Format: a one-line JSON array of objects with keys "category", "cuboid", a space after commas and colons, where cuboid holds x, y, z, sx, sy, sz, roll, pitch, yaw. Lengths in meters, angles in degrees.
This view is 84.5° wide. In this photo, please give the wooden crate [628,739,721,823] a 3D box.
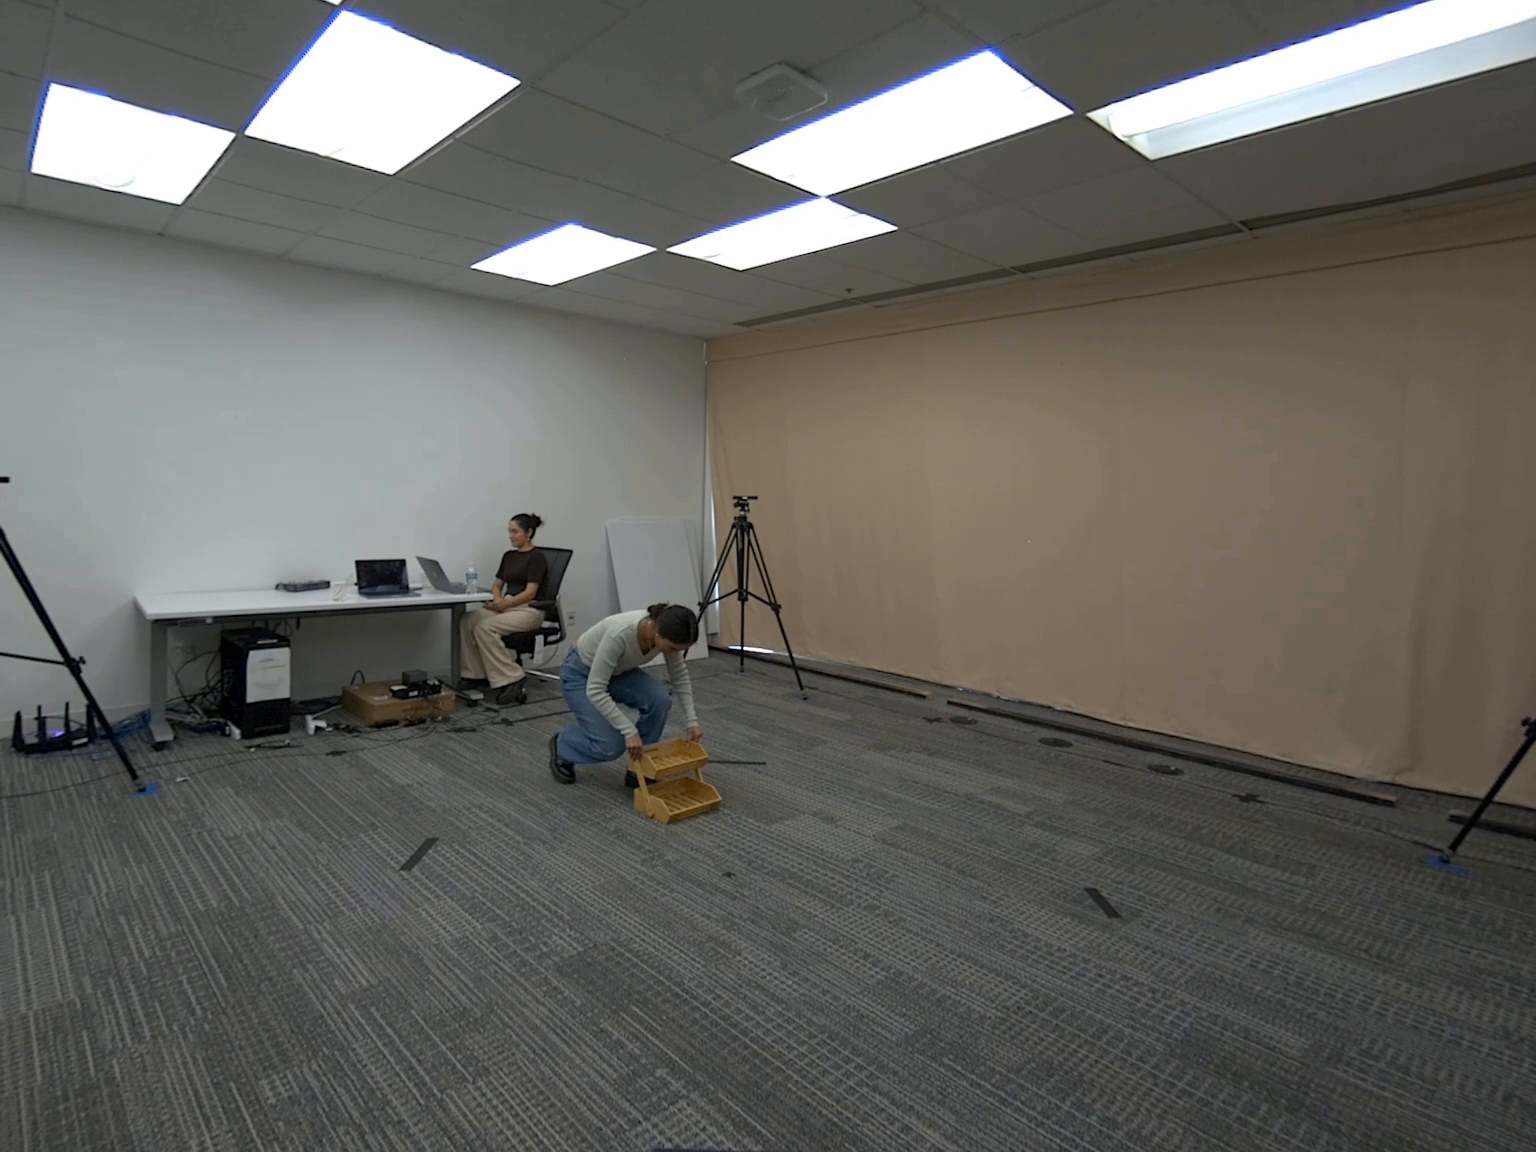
[{"category": "wooden crate", "cuboid": [-0.423, 0.900, 3.762, 0.309, 0.273, 0.317, 4, 4, 45]}]
